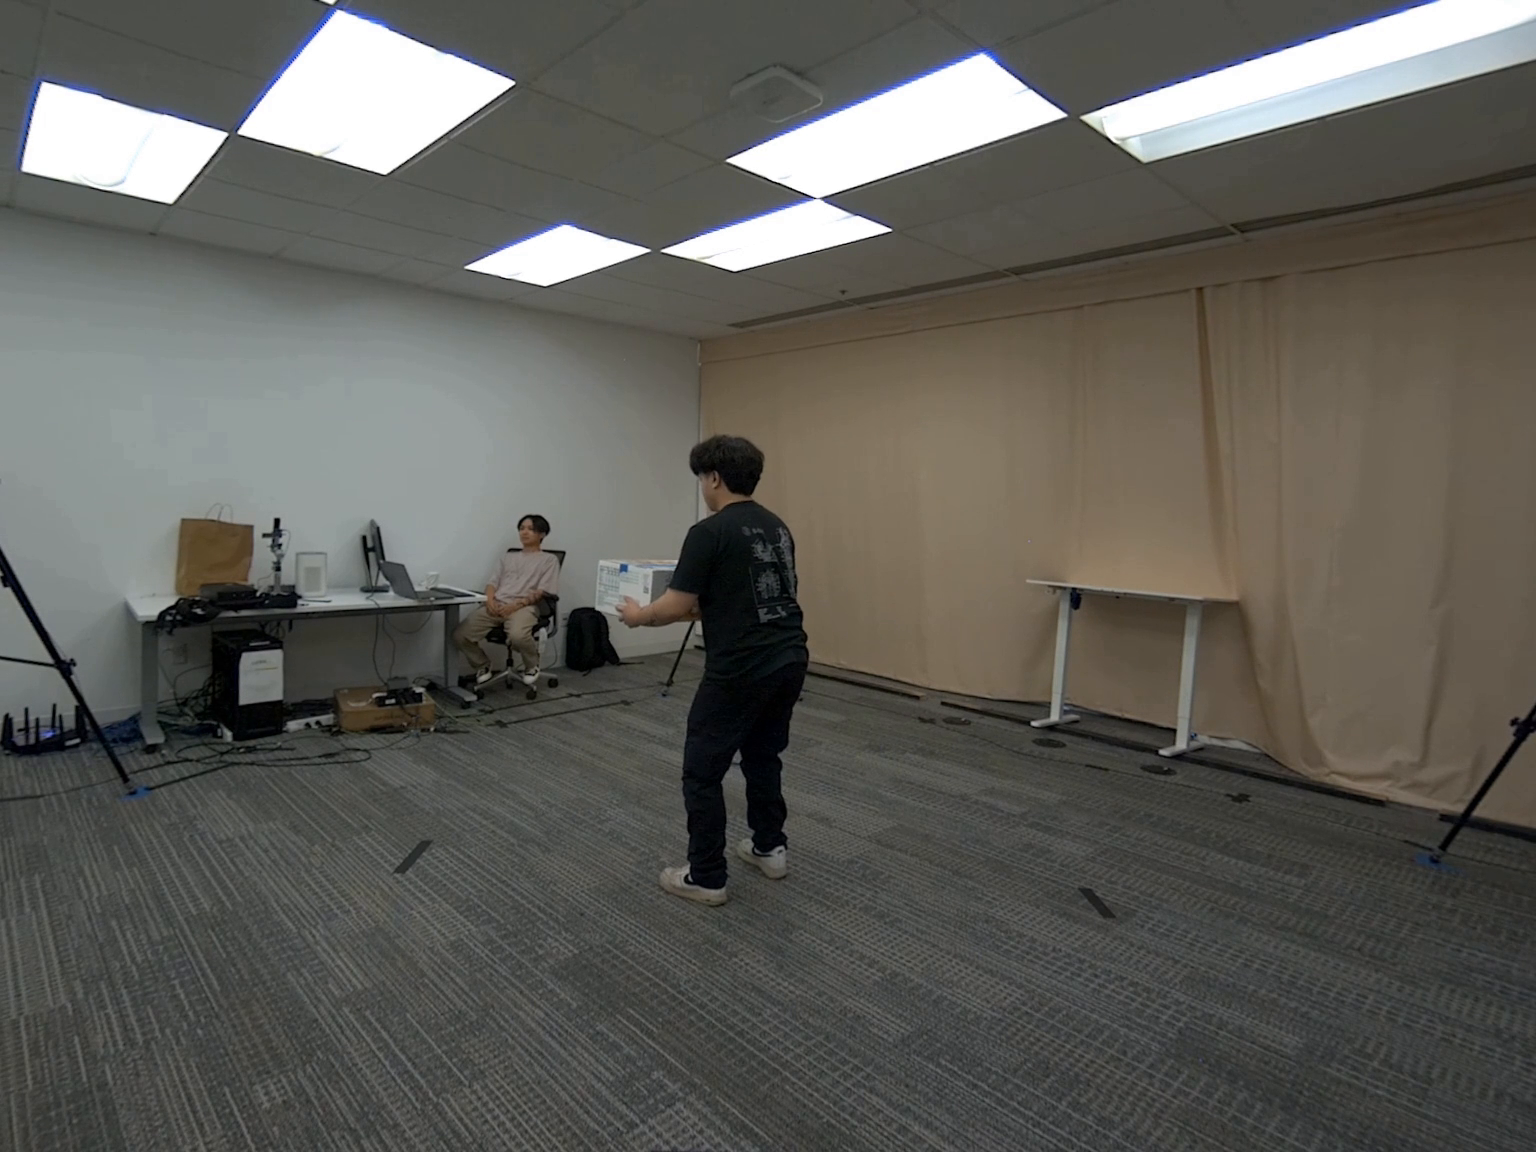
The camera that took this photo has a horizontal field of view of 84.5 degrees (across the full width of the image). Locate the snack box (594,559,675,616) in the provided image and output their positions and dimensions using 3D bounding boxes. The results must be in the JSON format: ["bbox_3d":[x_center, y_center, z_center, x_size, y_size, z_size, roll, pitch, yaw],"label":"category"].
[{"bbox_3d":[-0.414,0.061,3.325,0.349,0.205,0.395,9,7,44],"label":"snack box"}]
